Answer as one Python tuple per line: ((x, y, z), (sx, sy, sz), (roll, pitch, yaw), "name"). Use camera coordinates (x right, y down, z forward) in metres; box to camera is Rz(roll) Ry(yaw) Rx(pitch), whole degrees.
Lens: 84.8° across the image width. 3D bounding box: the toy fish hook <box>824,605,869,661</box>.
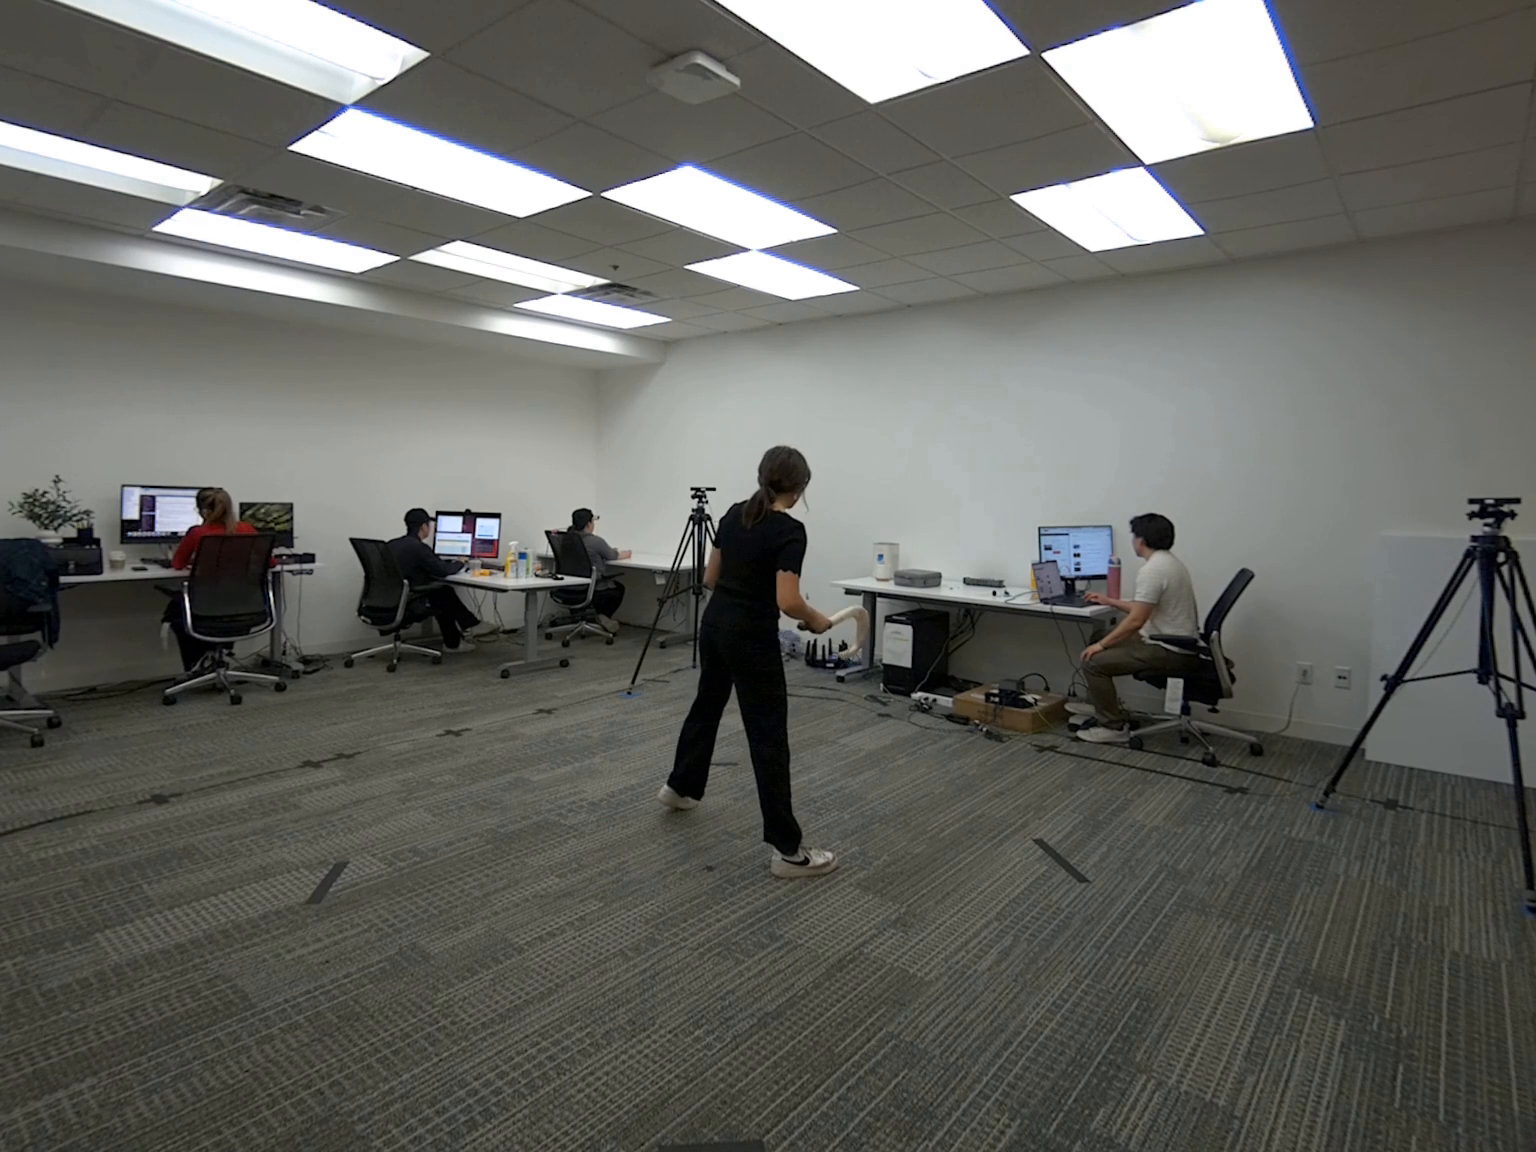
((0.257, 0.238, 3.431), (0.050, 0.224, 0.491), (3, 4, 41), "toy fish hook")
